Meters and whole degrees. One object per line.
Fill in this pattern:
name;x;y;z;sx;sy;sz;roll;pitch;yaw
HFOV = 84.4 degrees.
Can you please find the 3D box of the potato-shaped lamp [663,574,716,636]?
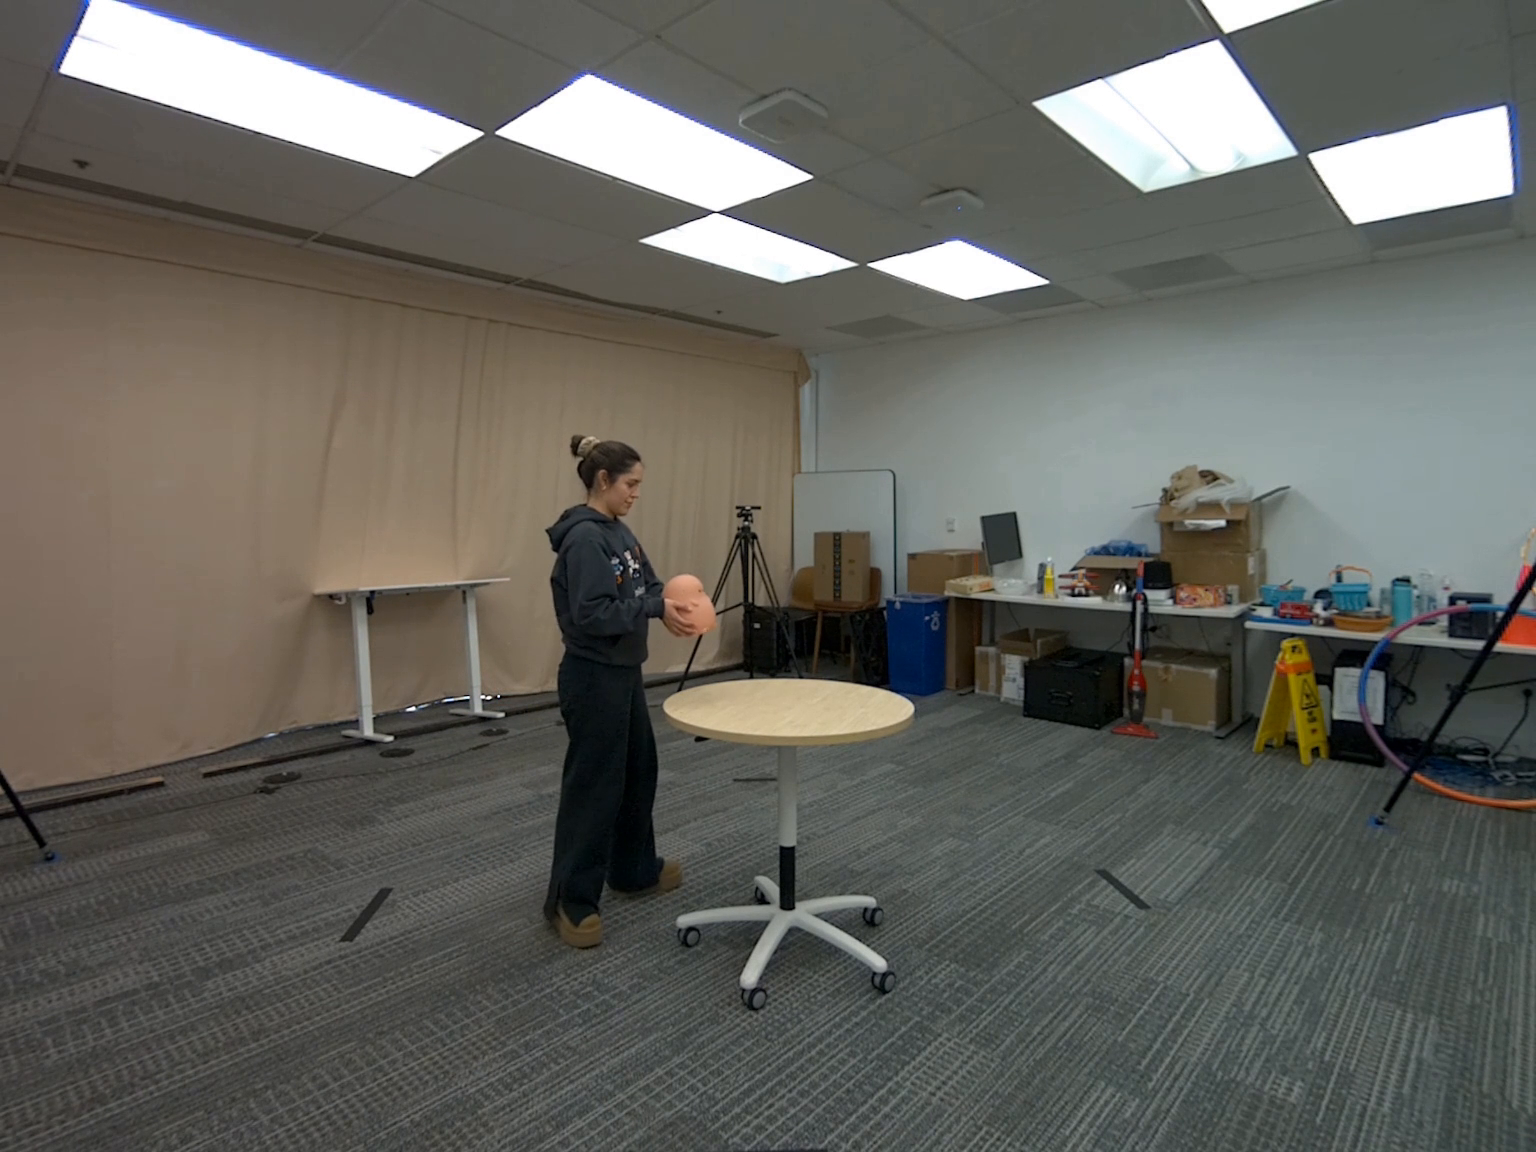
potato-shaped lamp;-0.258;0.094;2.743;0.175;0.197;0.162;-3;5;19
